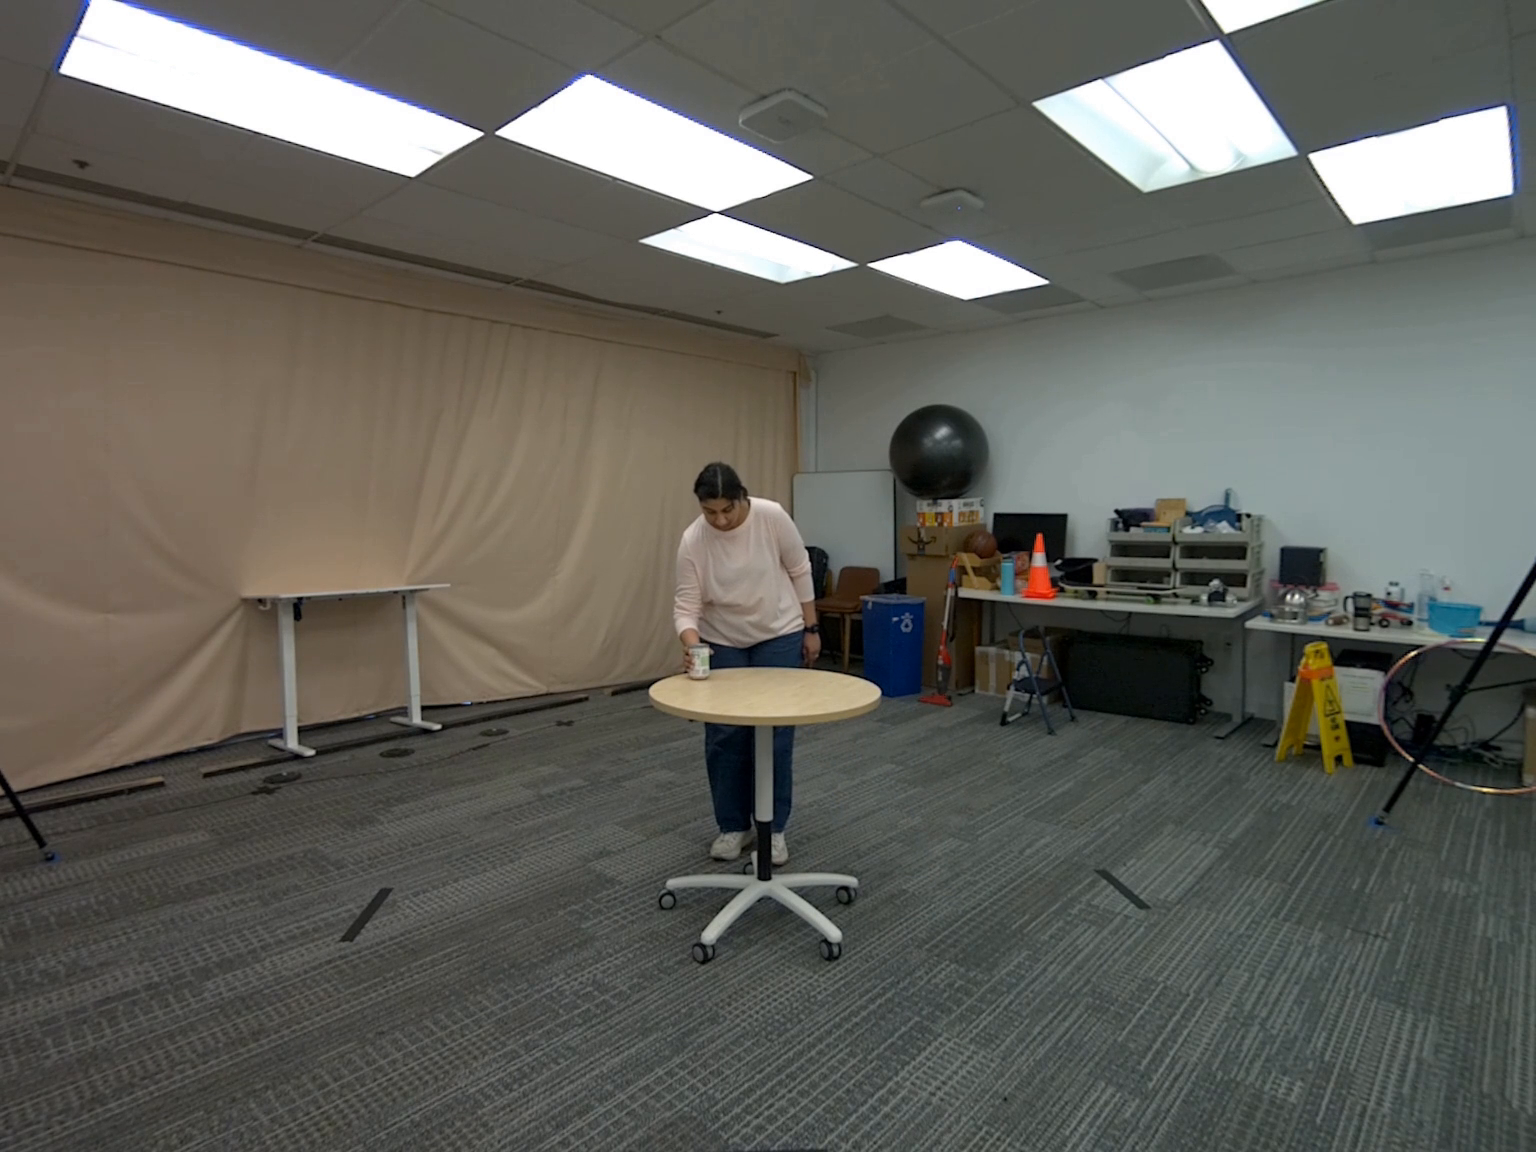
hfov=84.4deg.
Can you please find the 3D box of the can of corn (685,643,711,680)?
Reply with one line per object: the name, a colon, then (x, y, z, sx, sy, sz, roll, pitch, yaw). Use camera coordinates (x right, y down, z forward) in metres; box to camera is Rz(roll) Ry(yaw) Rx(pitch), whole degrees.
can of corn: (-0.238, 0.304, 2.977, 0.074, 0.111, 0.074, -1, 0, -2)
